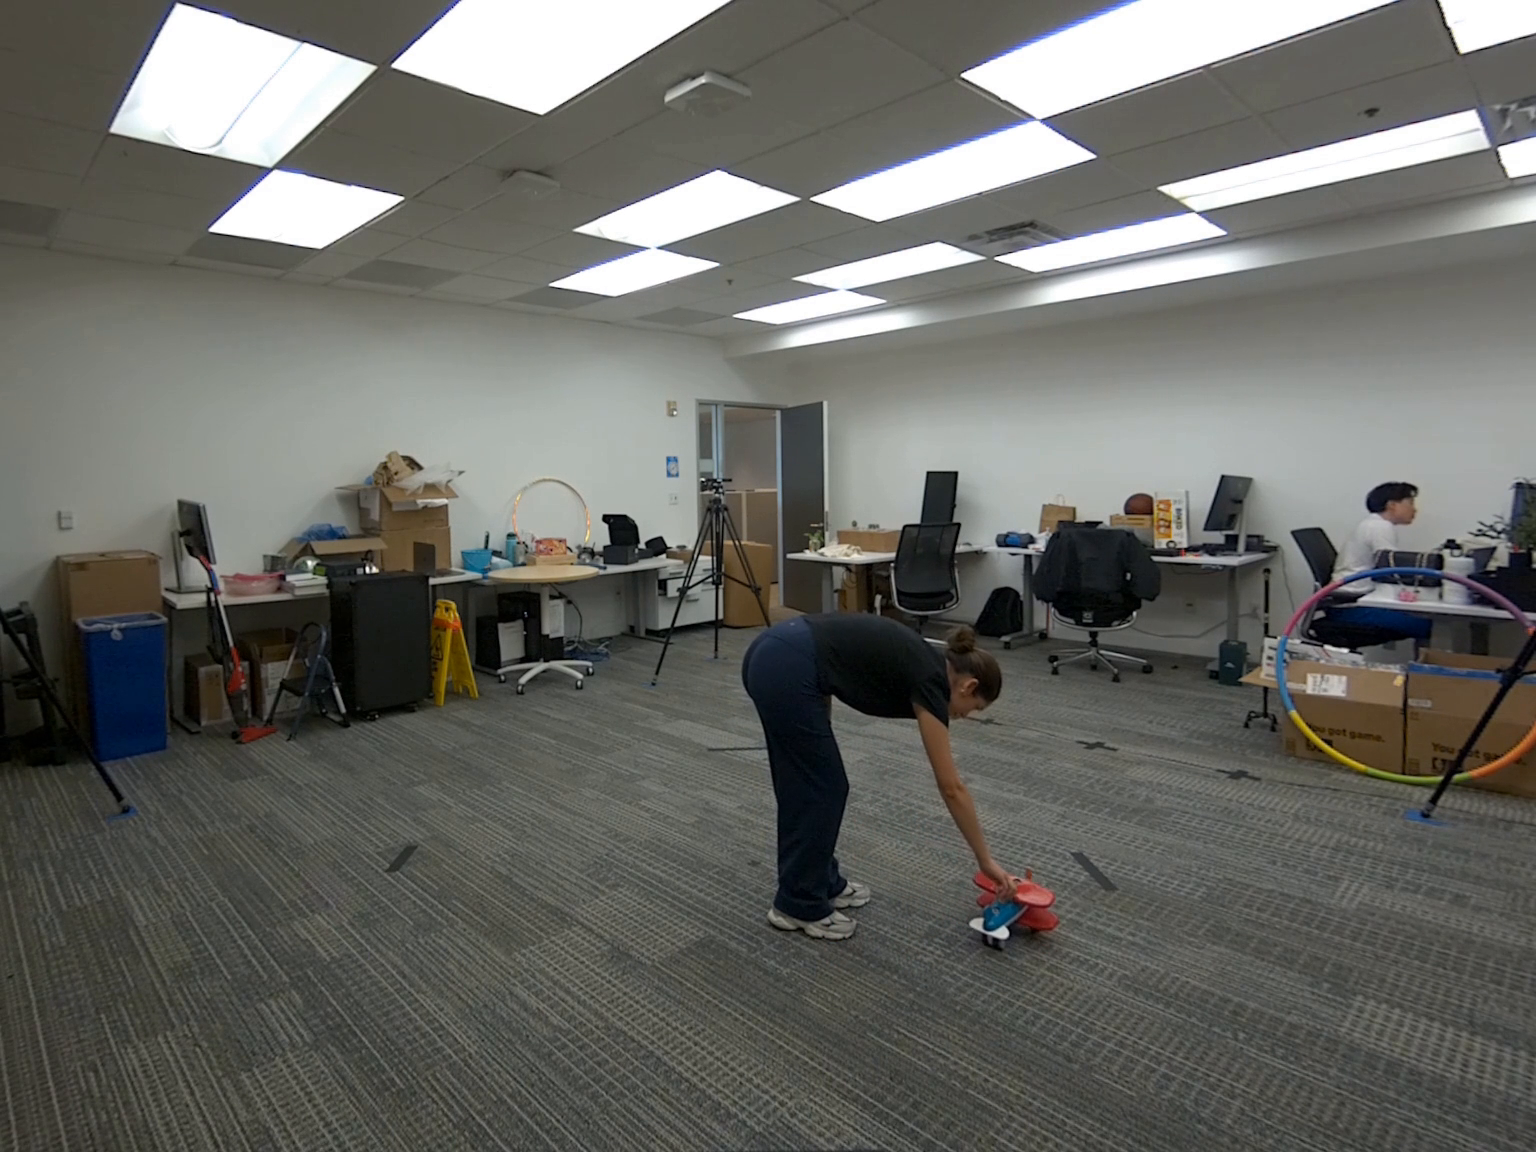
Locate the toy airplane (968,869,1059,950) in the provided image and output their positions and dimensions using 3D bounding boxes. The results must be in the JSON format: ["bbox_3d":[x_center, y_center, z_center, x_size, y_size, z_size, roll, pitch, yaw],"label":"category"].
[{"bbox_3d":[0.742,1.012,2.572,0.255,0.156,0.255,-1,3,19],"label":"toy airplane"}]
